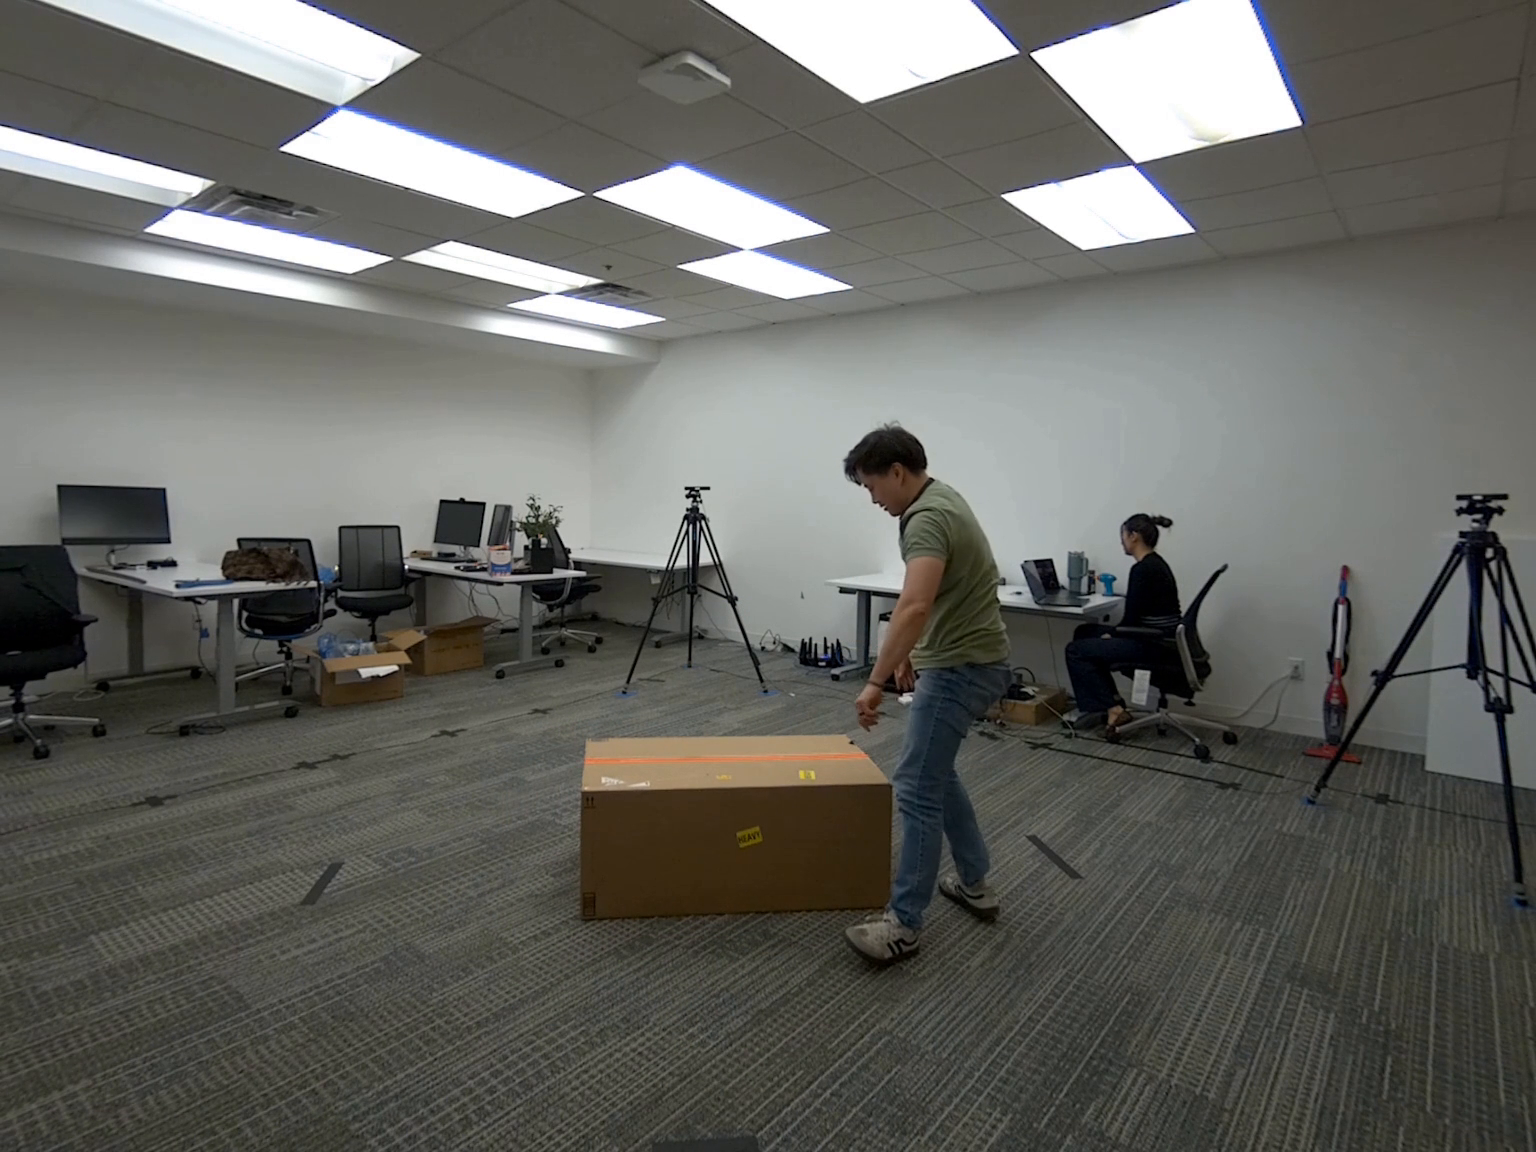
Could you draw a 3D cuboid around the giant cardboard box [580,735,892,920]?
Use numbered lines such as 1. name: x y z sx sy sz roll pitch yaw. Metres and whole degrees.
1. giant cardboard box: -0.159 0.857 3.044 1.017 0.424 0.585 0 5 -8
